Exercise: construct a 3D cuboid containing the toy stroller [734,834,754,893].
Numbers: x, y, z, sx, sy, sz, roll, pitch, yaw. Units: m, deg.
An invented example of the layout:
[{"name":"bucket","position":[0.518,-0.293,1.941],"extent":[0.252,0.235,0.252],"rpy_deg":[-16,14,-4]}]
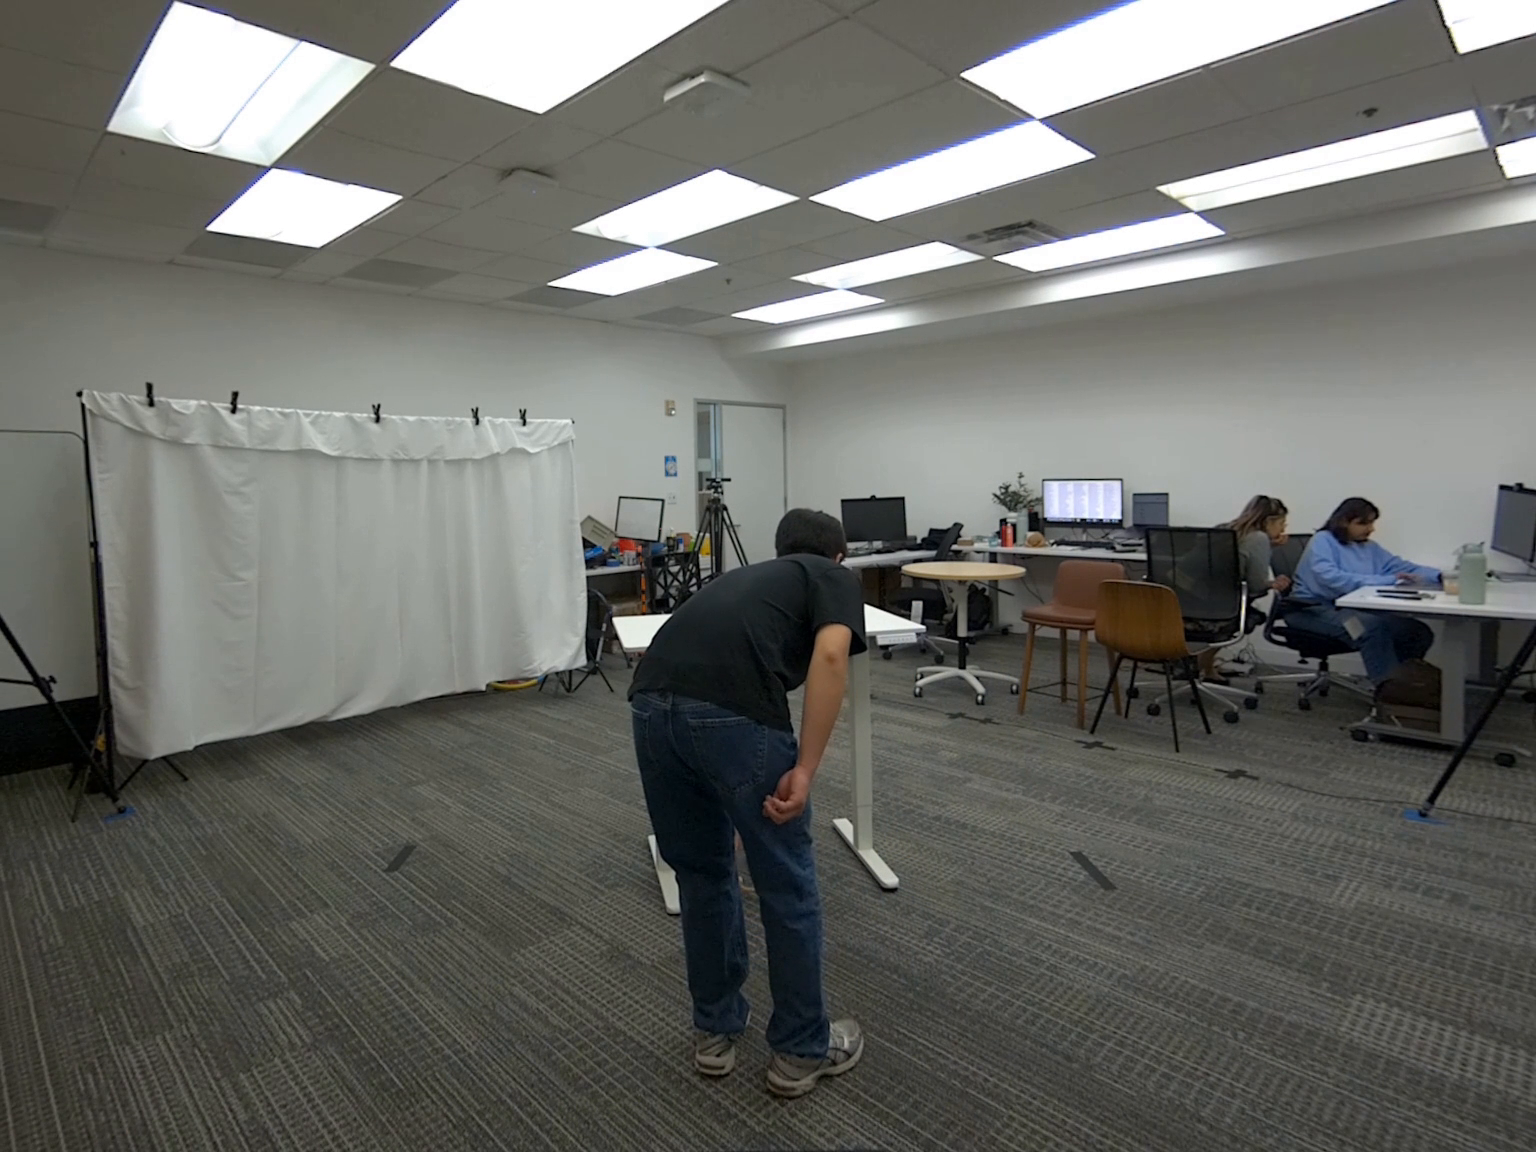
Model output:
[{"name":"toy stroller","position":[-0.017,0.841,2.920],"extent":[0.280,0.526,0.349],"rpy_deg":[-1,20,-7]}]
